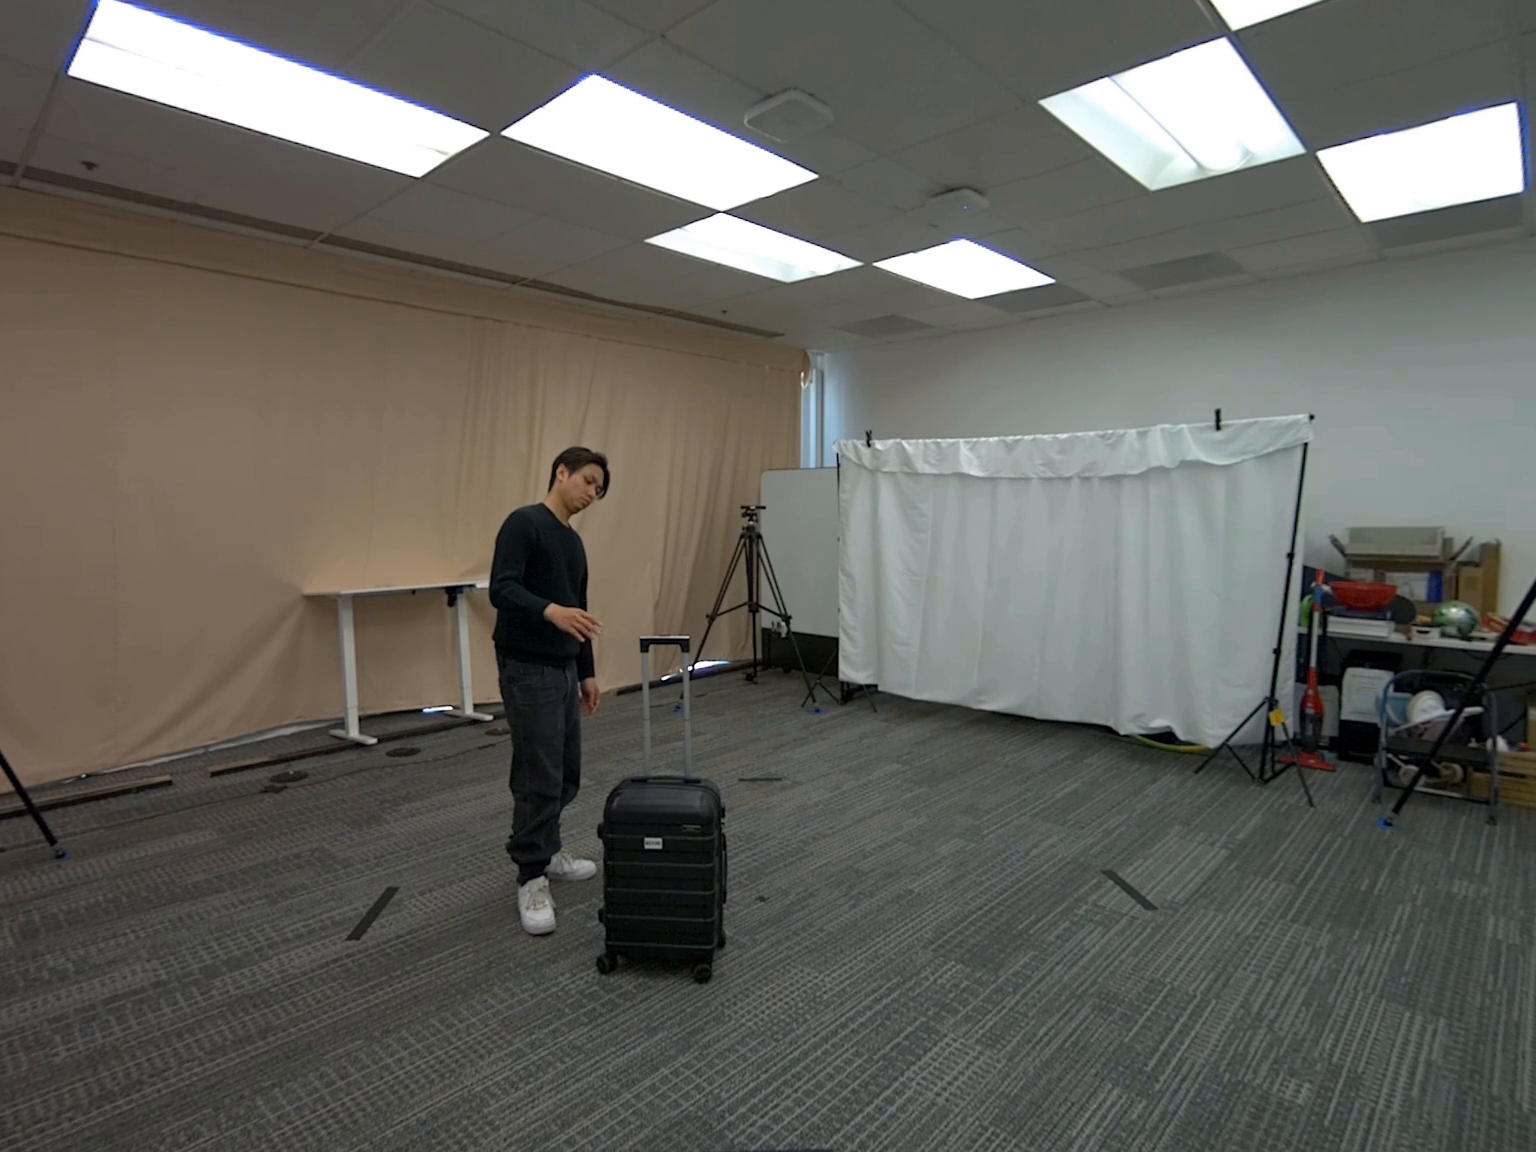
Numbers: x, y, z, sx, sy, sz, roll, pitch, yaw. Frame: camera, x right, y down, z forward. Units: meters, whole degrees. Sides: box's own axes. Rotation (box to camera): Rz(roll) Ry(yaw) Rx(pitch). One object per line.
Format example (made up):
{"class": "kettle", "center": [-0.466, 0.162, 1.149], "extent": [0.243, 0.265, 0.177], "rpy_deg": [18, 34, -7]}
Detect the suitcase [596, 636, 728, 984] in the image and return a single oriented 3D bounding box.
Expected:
{"class": "suitcase", "center": [-0.319, 0.700, 2.564], "extent": [0.386, 0.976, 0.257], "rpy_deg": [0, 4, 3]}
